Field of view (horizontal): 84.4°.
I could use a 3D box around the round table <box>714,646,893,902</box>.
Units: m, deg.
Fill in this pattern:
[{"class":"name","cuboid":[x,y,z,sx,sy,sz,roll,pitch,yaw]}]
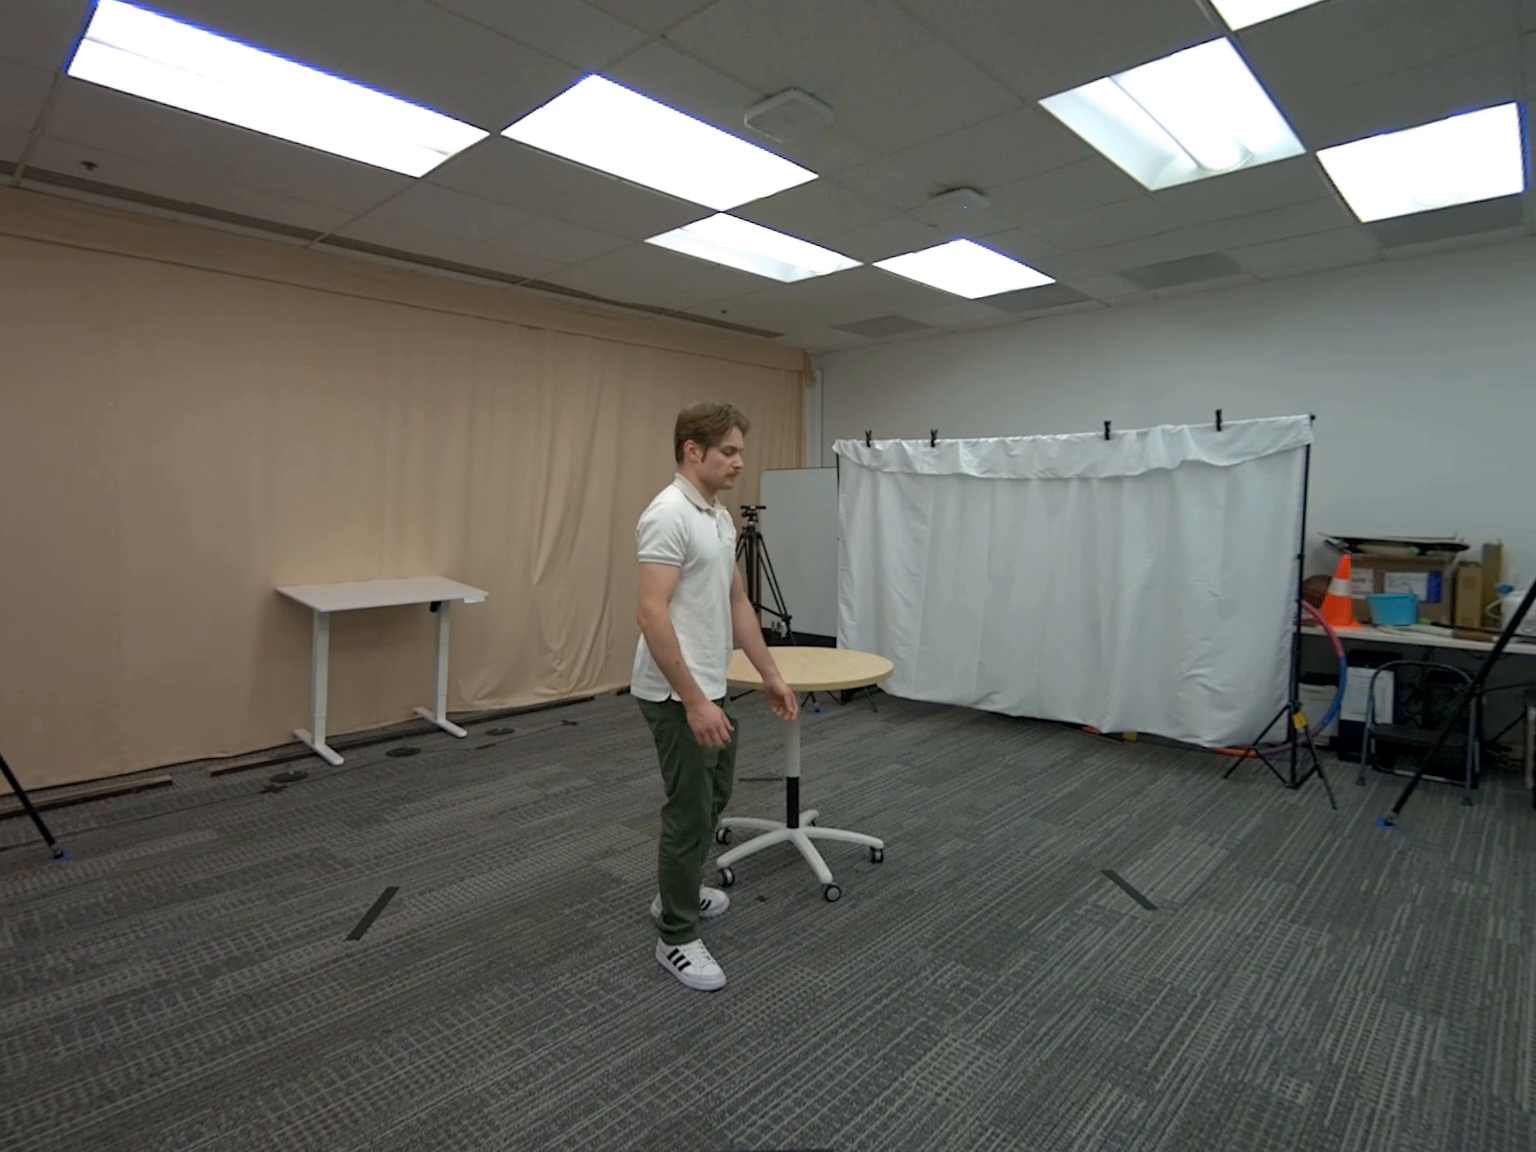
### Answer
[{"class":"round table","cuboid":[0.104,0.729,3.272,0.763,0.792,0.767,0,4,-2]}]
